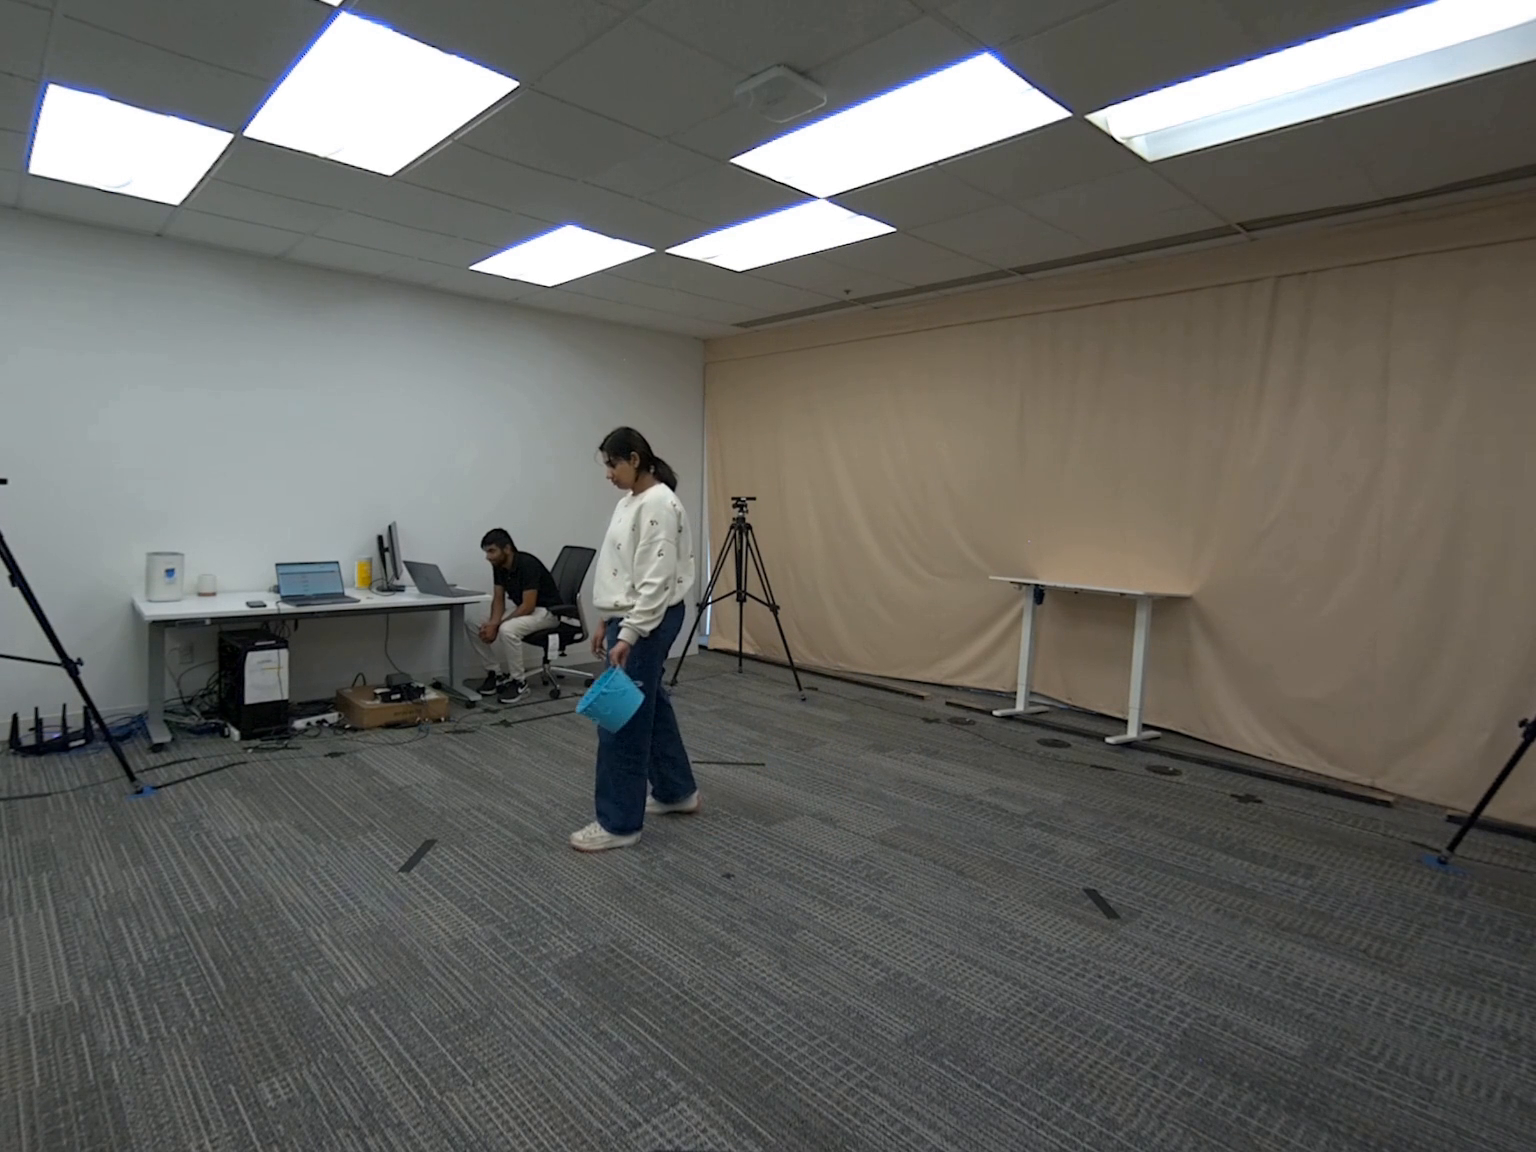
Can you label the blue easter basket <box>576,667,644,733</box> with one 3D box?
[{"bbox_3d":[-0.583,0.452,3.120,0.155,0.243,0.245,40,0,-8],"label":"blue easter basket"}]
